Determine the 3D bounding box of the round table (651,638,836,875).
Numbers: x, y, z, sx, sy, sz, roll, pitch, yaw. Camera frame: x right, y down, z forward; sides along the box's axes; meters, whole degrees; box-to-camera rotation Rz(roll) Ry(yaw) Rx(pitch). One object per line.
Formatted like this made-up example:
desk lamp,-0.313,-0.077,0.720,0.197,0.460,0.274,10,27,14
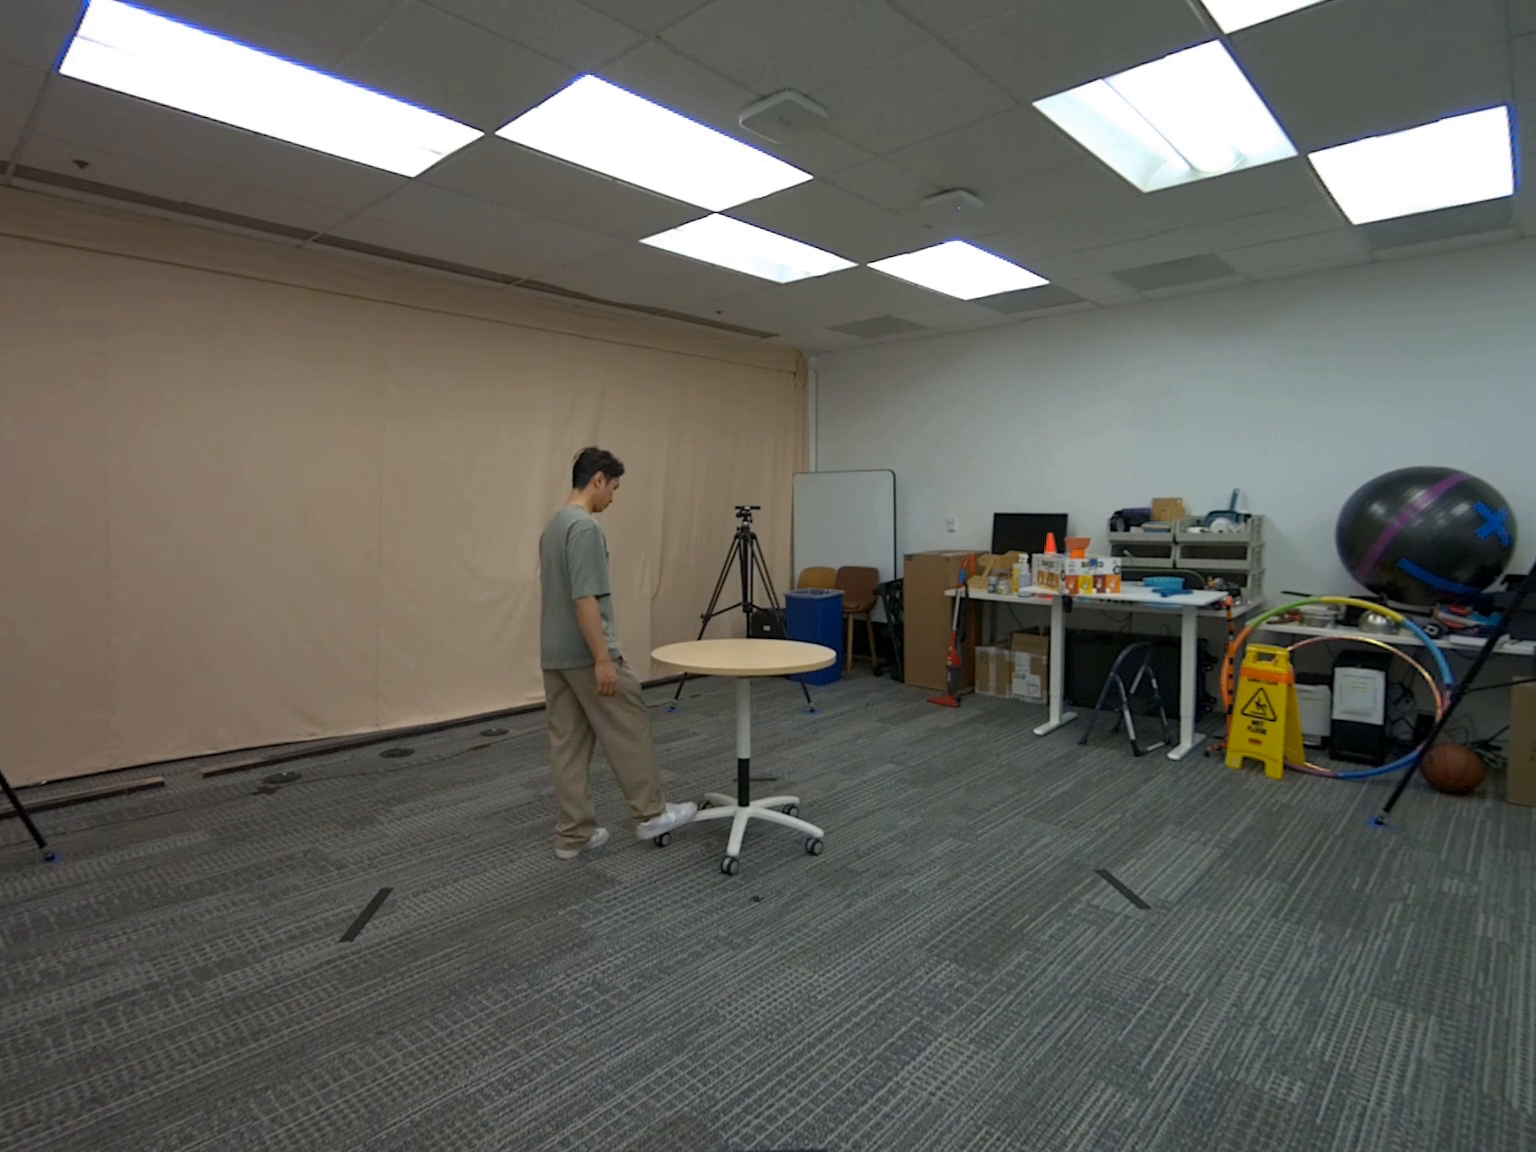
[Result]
round table,-0.100,0.708,3.520,0.784,0.785,0.787,0,3,-2
